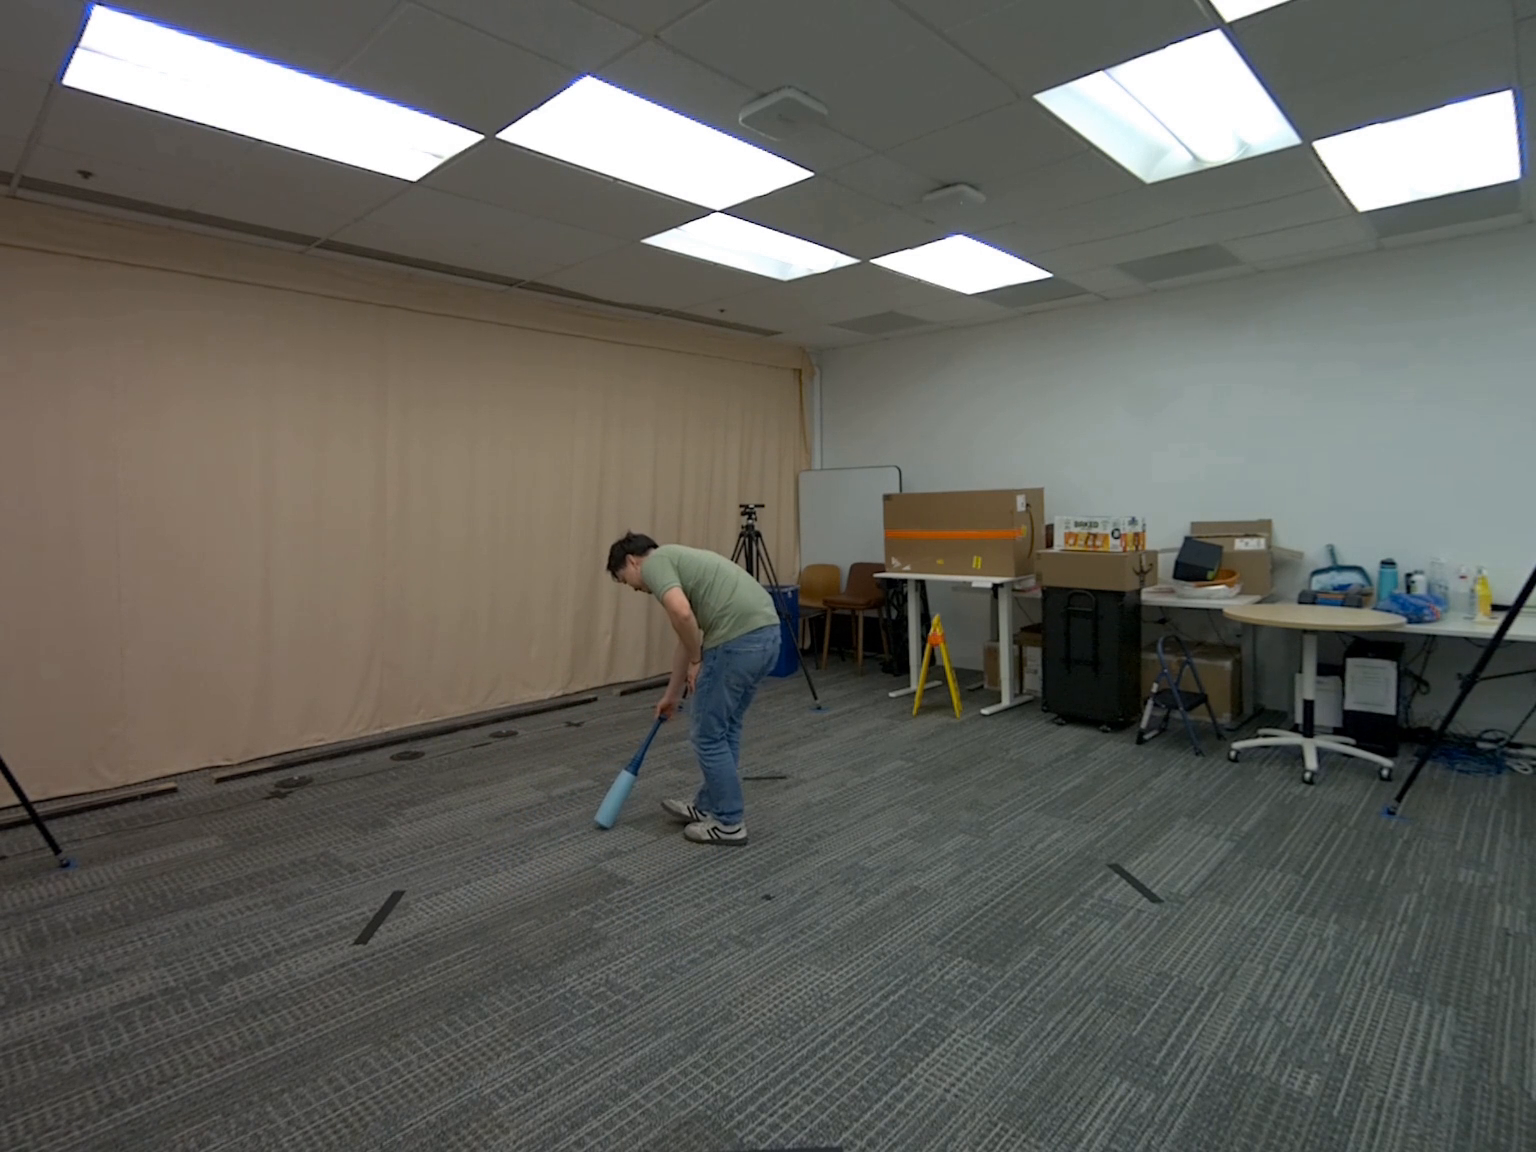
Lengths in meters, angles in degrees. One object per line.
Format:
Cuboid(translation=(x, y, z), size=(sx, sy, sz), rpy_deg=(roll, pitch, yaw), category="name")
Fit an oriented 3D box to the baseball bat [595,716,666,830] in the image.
Cuboid(translation=(-0.597, 0.859, 3.724), size=(0.090, 0.543, 0.088), rpy_deg=(28, -14, 6), category="baseball bat")
